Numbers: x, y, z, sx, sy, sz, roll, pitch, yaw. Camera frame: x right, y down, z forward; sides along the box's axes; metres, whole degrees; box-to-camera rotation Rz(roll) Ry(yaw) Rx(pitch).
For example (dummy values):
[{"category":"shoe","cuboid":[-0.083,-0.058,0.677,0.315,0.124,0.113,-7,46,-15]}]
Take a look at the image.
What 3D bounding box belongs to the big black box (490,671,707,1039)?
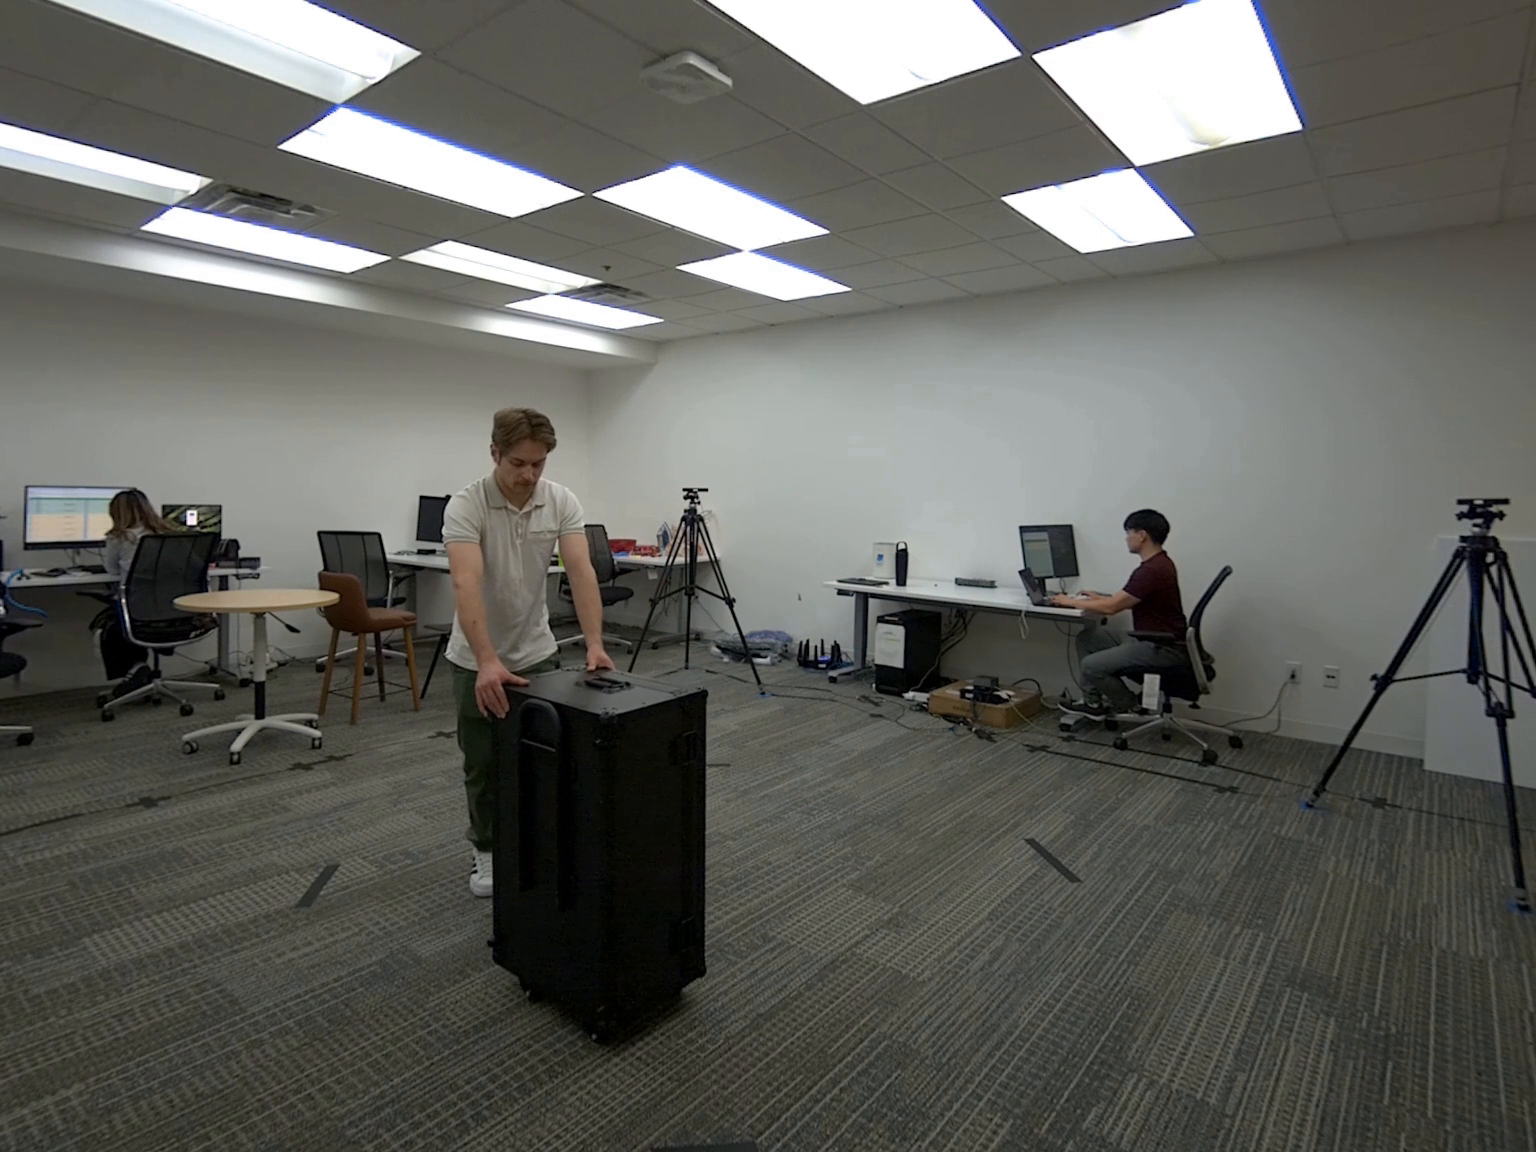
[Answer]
[{"category":"big black box","cuboid":[-0.461,0.723,2.302,0.541,0.866,0.374,3,4,39]}]
